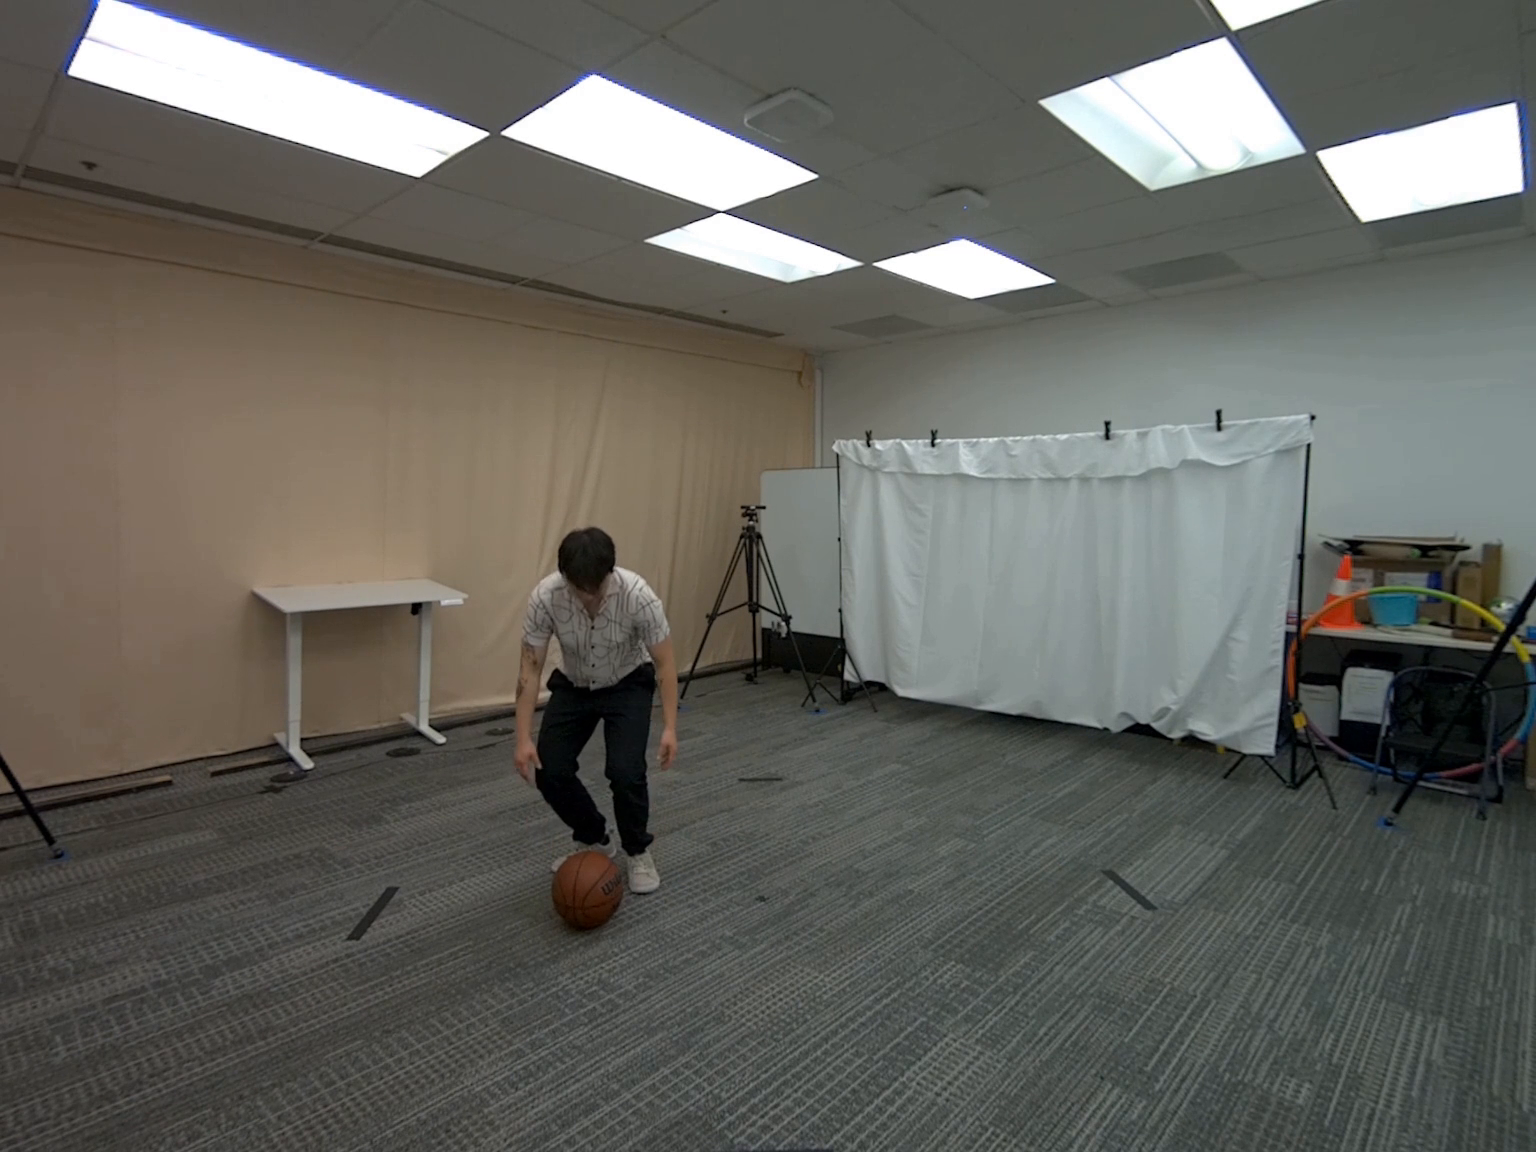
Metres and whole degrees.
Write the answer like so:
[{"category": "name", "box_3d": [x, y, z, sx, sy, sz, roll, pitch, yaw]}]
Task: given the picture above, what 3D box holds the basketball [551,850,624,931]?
[{"category": "basketball", "box_3d": [-0.601, 1.045, 2.805, 0.236, 0.235, 0.237, 0, 4, -2]}]
